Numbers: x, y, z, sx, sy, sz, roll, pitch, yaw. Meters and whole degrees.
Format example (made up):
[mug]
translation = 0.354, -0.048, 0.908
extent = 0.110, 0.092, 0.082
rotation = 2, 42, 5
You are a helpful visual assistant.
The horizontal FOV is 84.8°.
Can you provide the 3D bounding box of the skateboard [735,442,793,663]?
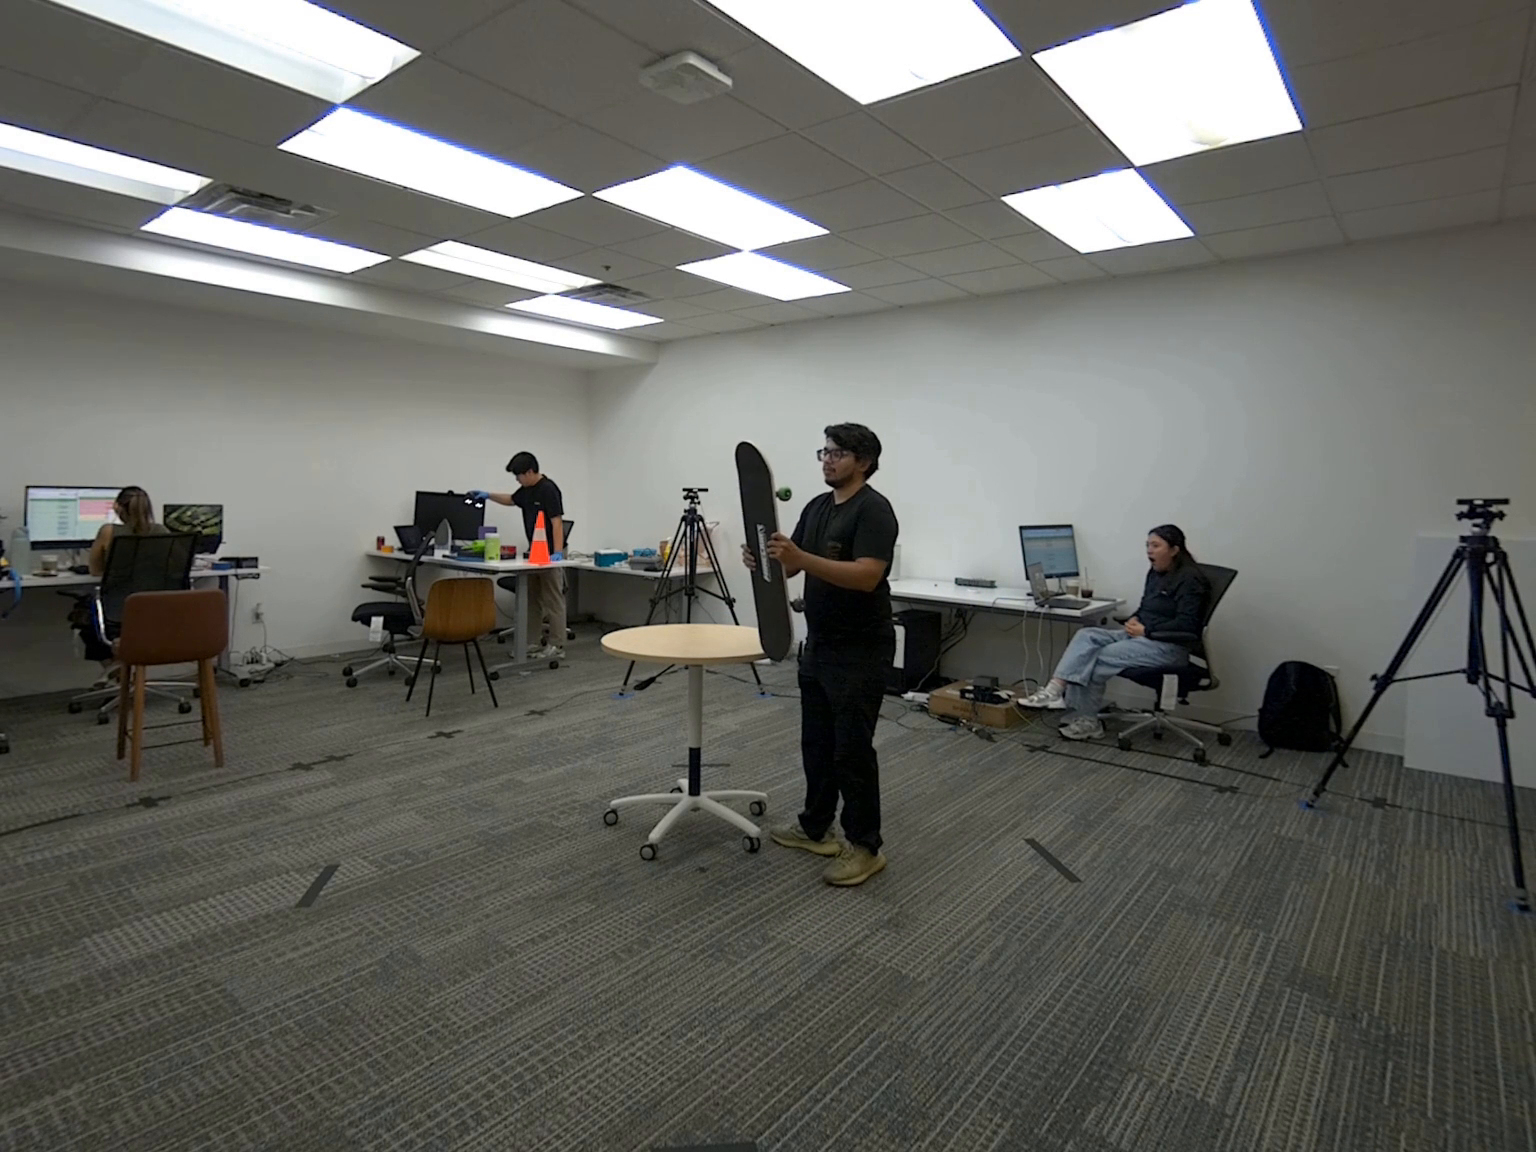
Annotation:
[skateboard]
translation = -0.001, -0.089, 2.982
extent = 0.108, 0.775, 0.200
rotation = -16, 14, -36
